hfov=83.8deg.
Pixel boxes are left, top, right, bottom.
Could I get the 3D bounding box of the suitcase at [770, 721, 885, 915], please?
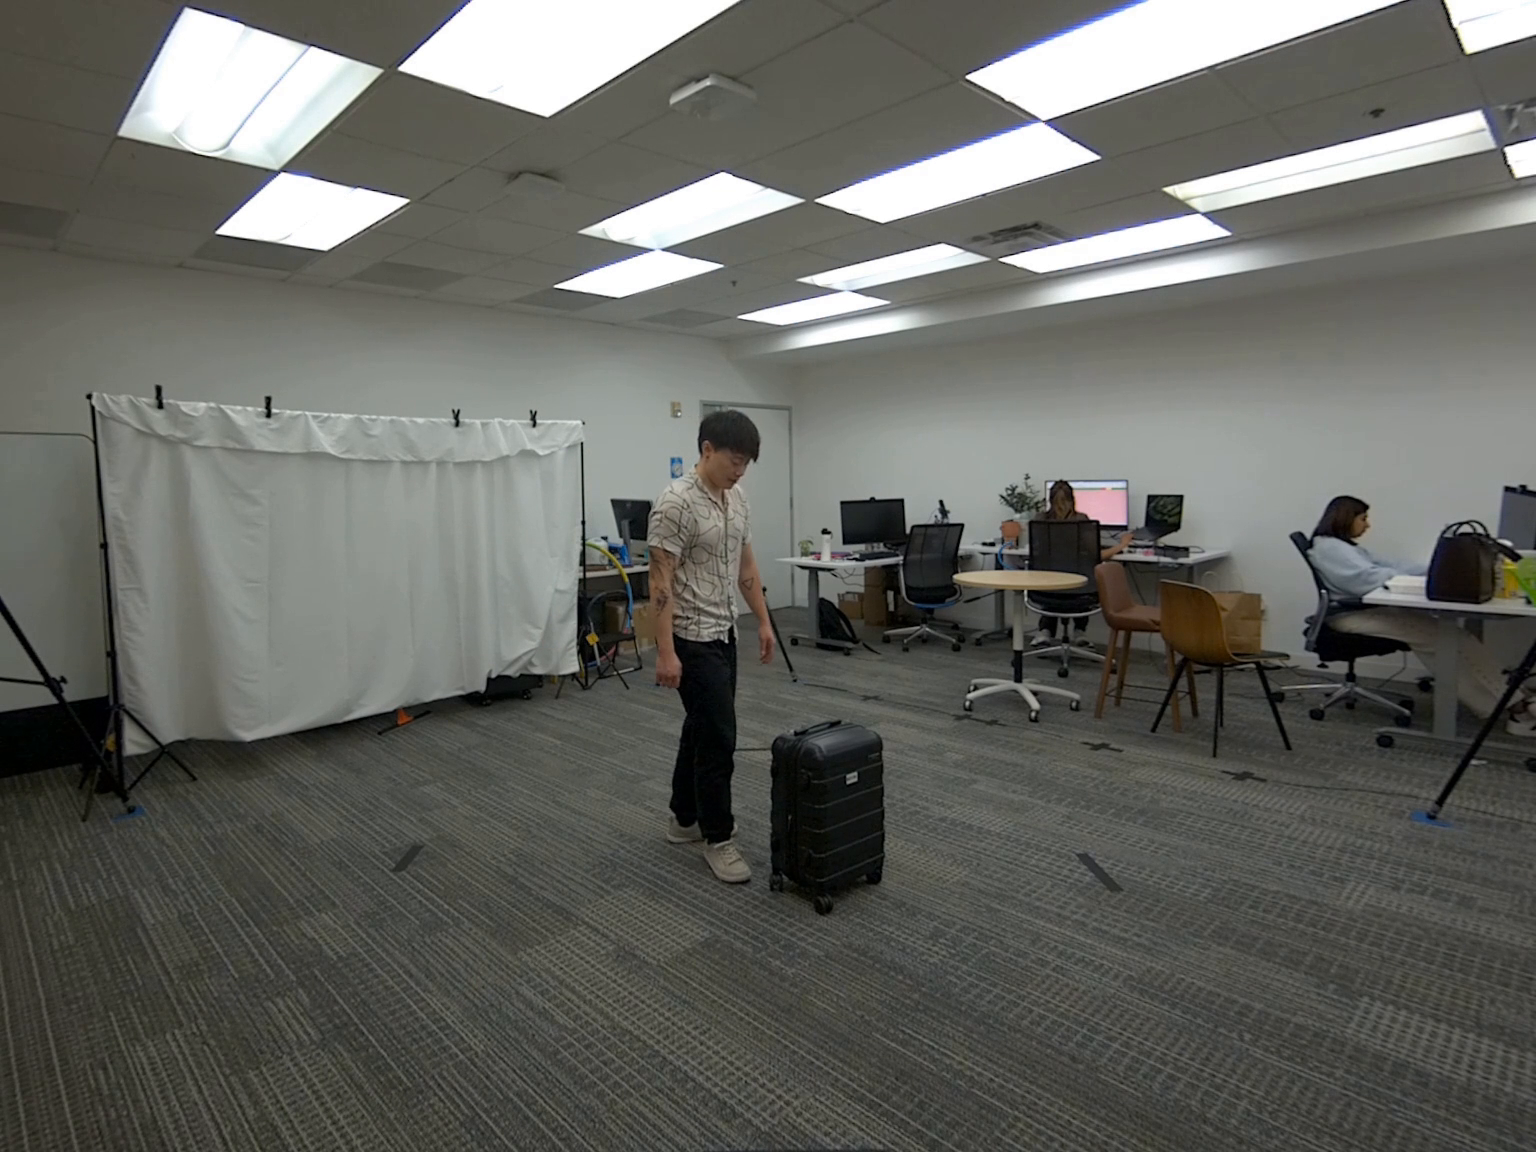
[{"bbox_3d":[0.214,0.786,2.921,0.365,0.547,0.256,-3,5,-39],"label":"suitcase"}]
